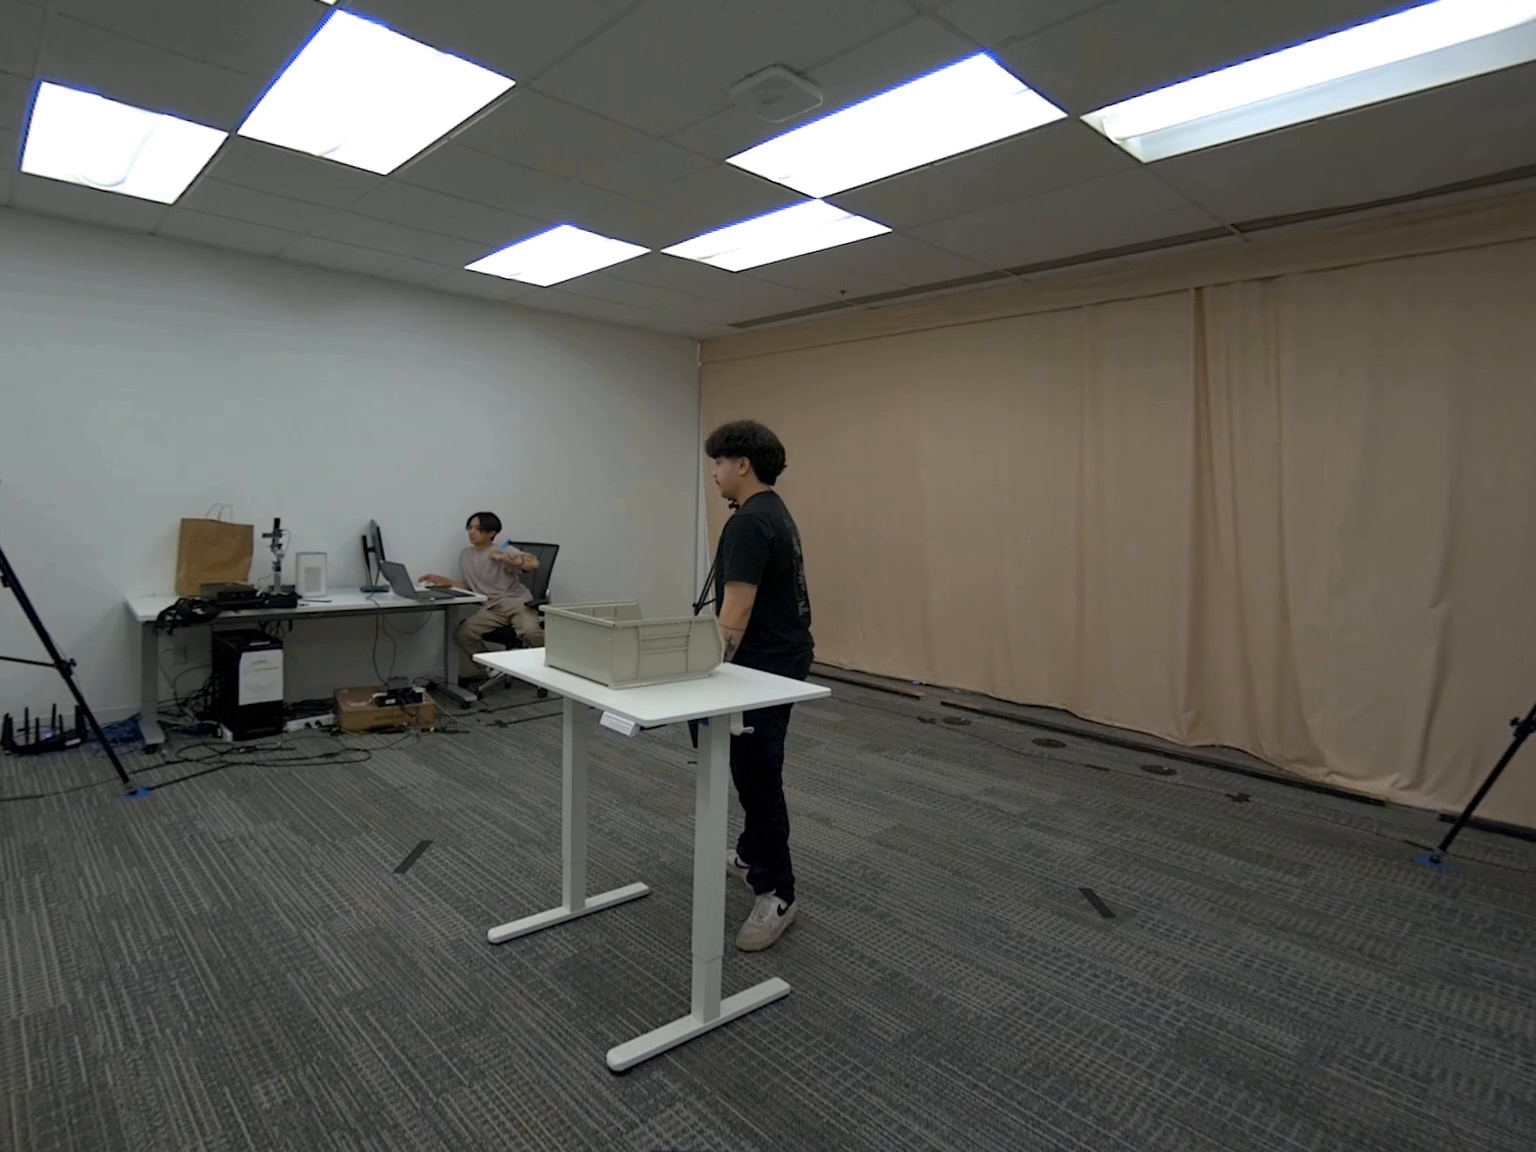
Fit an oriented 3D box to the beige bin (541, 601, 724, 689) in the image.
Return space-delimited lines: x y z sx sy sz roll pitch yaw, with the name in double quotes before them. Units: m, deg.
"beige bin" -0.412 0.193 2.455 0.369 0.188 0.433 -3 6 -40
